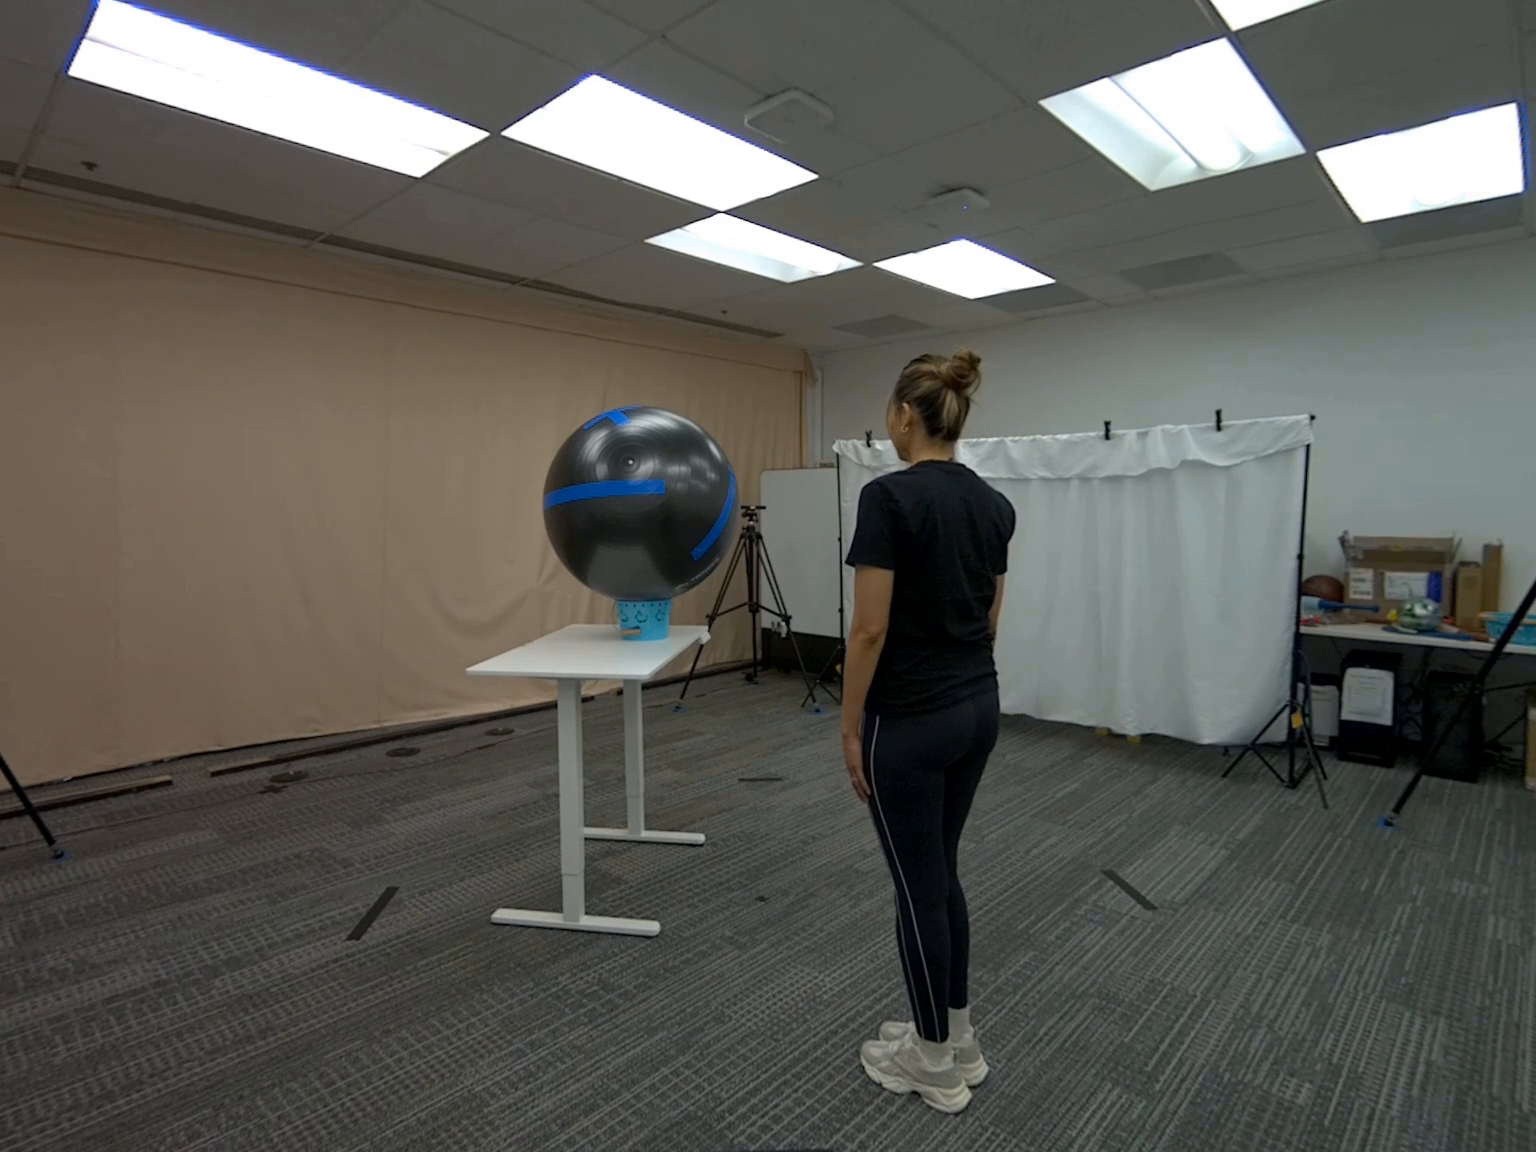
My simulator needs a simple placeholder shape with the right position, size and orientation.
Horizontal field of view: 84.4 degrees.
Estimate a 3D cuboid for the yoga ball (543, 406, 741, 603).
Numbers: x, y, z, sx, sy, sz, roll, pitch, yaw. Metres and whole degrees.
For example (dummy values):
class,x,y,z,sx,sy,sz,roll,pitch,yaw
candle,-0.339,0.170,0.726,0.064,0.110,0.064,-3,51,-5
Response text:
class,x,y,z,sx,sy,sz,roll,pitch,yaw
yoga ball,-0.487,-0.269,3.265,0.757,0.756,0.761,0,4,-2
